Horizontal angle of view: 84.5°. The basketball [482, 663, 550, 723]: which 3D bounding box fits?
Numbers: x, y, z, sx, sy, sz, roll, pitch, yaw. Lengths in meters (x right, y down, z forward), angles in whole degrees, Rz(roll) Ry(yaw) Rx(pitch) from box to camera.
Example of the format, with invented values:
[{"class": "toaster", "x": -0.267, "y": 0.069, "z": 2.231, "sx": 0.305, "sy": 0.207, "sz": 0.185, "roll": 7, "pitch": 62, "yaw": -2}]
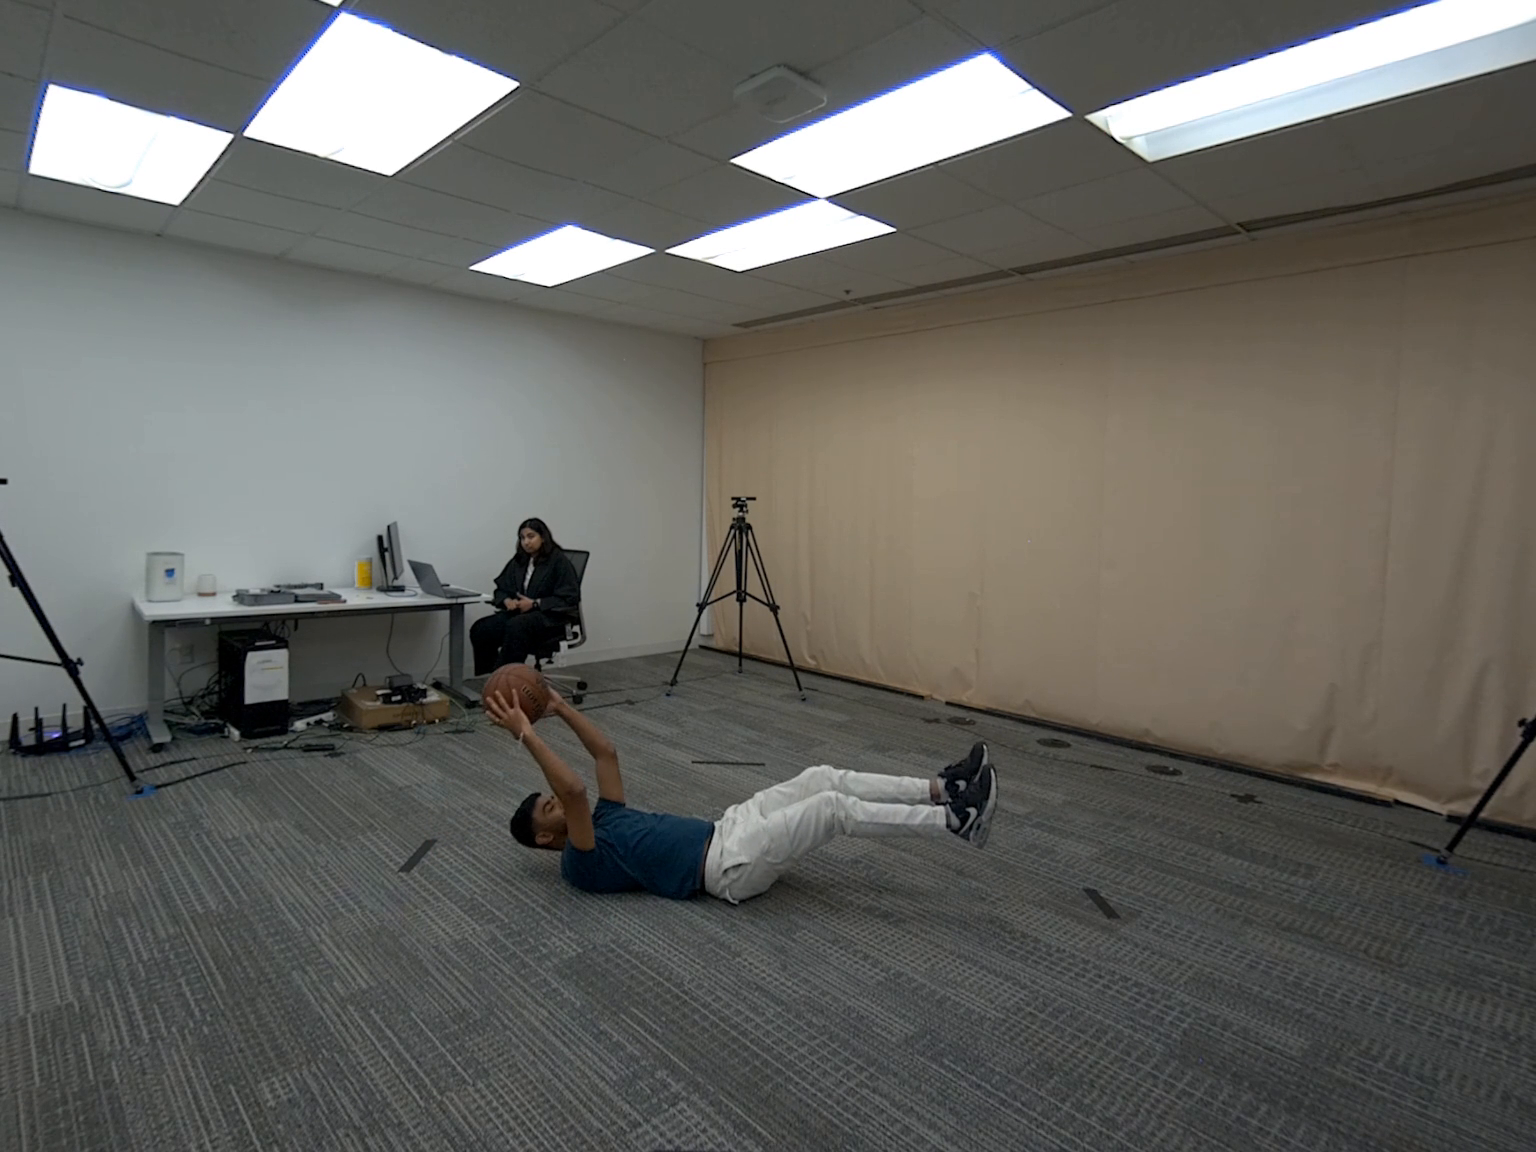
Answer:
[{"class": "basketball", "x": -0.916, "y": 0.437, "z": 3.067, "sx": 0.236, "sy": 0.235, "sz": 0.237, "roll": 1, "pitch": 4, "yaw": -1}]
